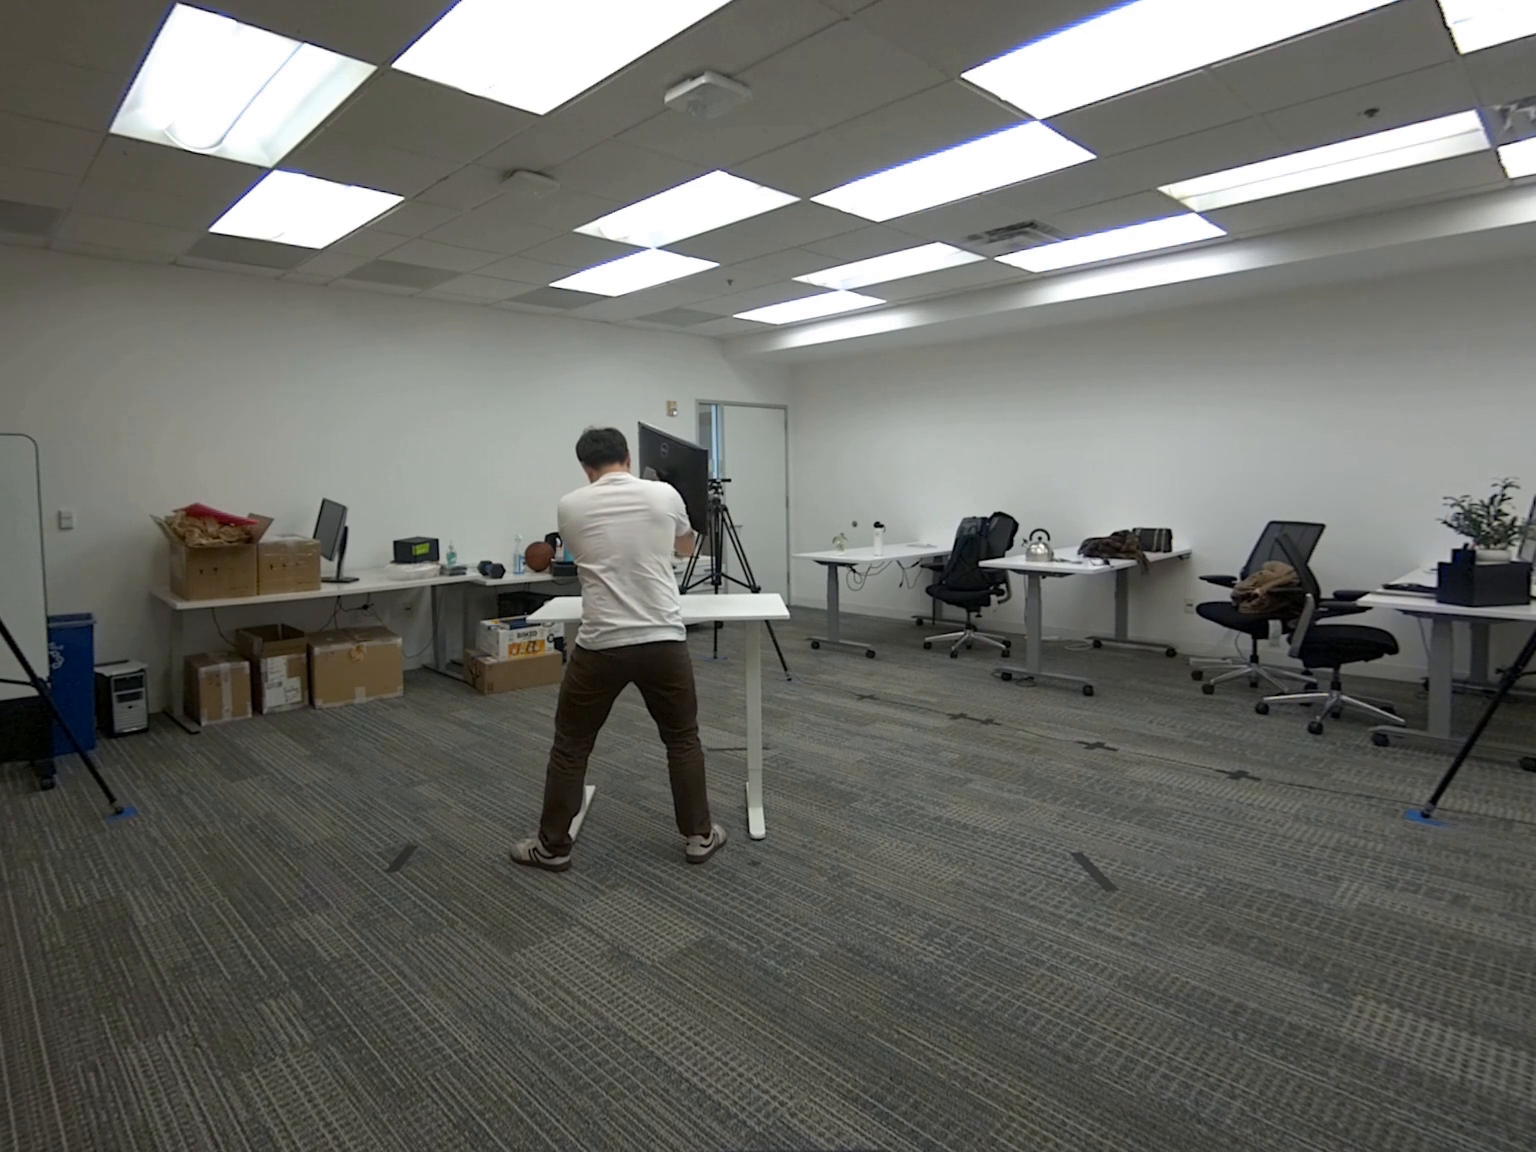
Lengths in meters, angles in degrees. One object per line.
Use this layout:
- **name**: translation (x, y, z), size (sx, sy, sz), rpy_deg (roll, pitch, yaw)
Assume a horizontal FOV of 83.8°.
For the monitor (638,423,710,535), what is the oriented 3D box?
- **monitor**: translation (-0.436, -0.321, 3.484), size (0.182, 0.518, 0.560), rpy_deg (2, 17, -40)
